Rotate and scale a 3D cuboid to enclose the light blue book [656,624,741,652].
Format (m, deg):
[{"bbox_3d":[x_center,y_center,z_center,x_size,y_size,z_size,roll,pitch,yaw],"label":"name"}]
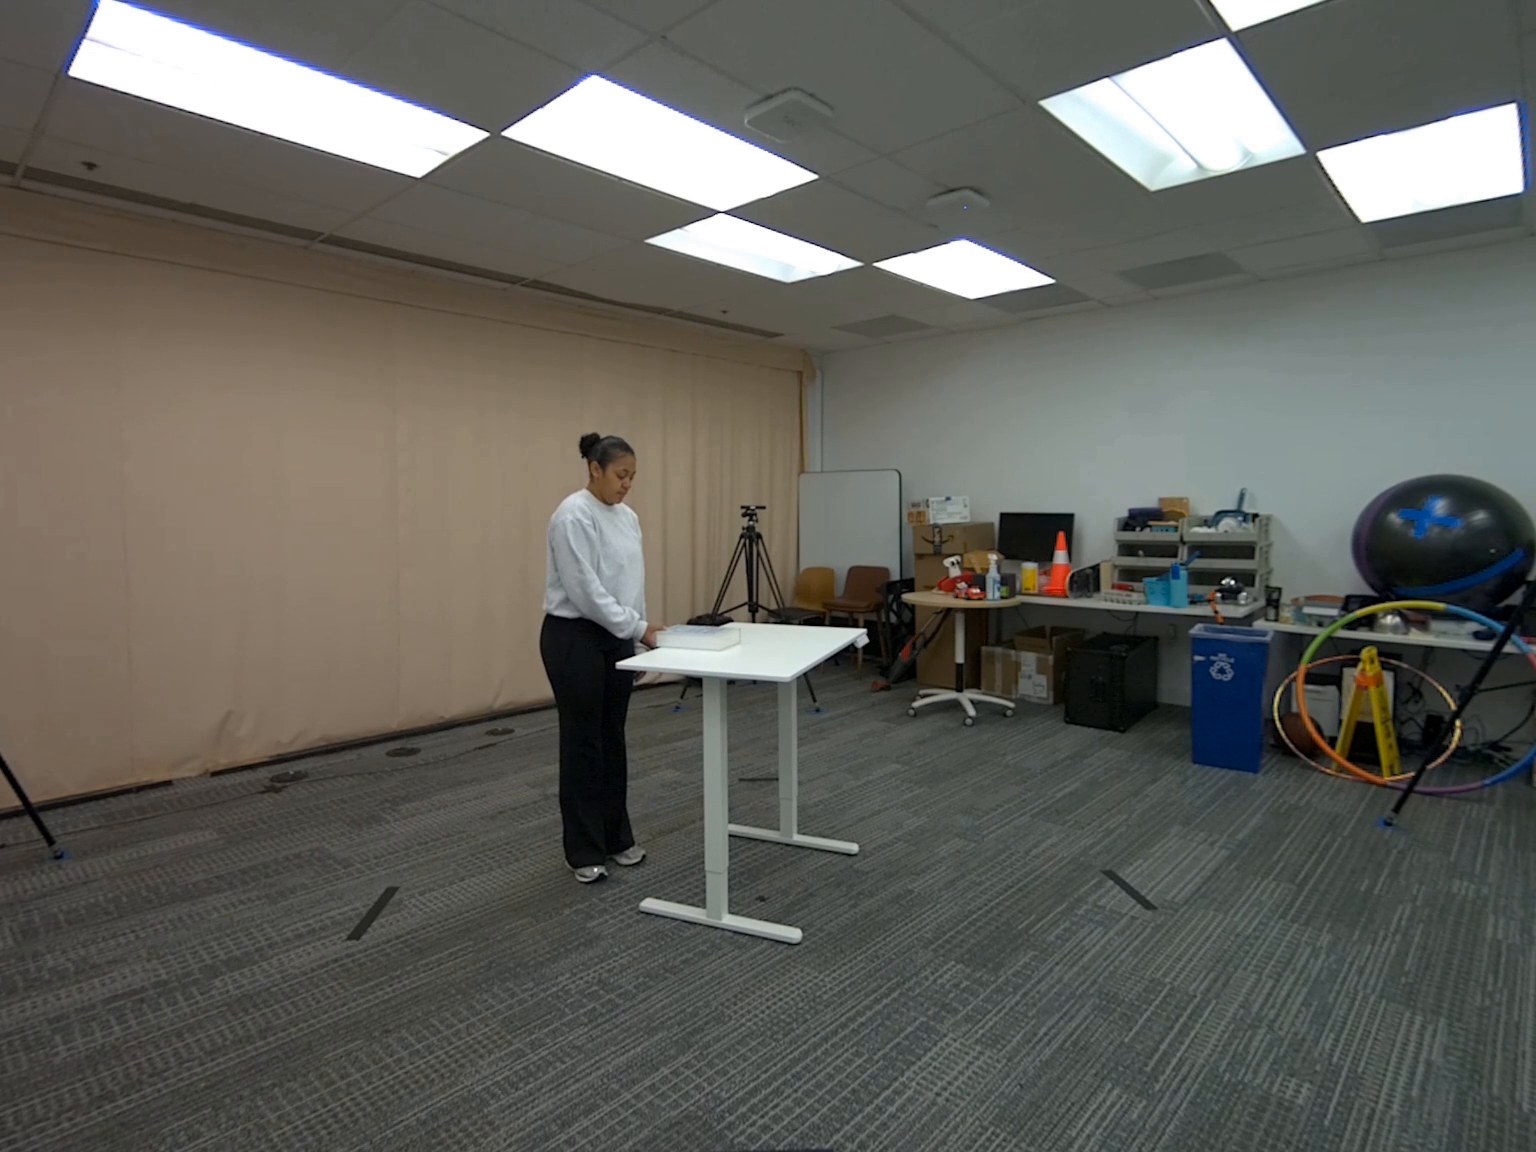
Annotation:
[{"bbox_3d":[-0.254,0.229,3.097,0.268,0.059,0.187,1,5,26],"label":"light blue book"}]
